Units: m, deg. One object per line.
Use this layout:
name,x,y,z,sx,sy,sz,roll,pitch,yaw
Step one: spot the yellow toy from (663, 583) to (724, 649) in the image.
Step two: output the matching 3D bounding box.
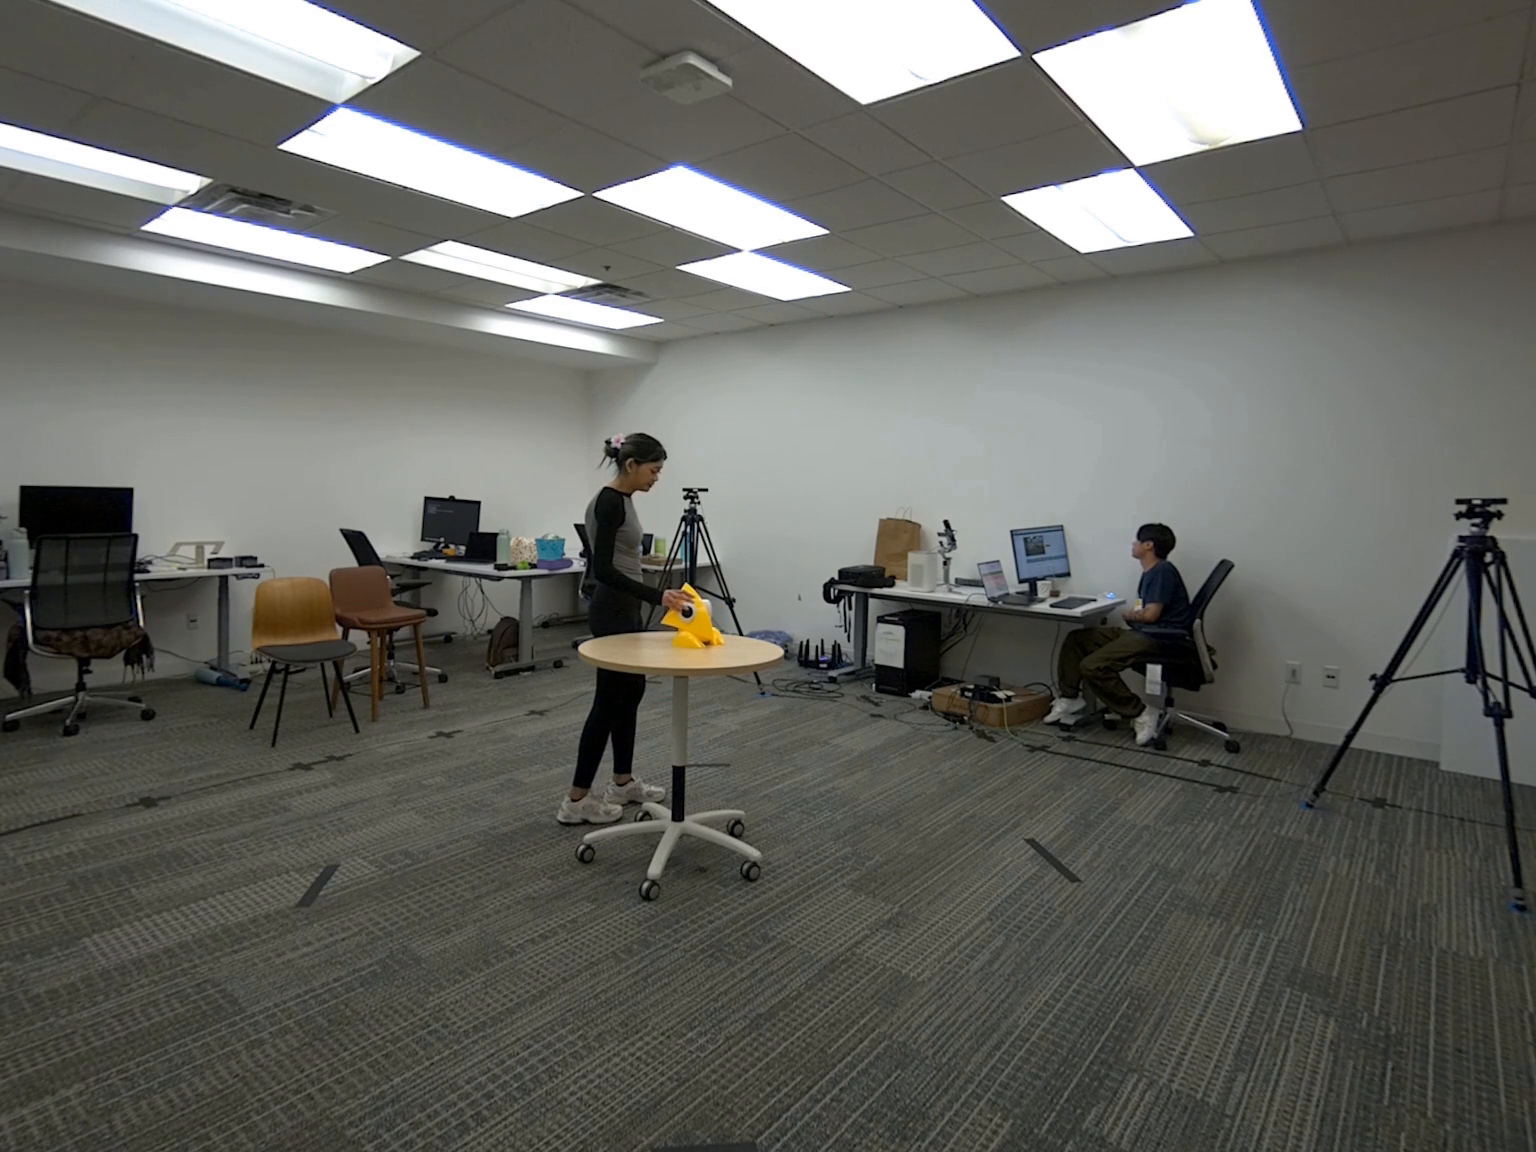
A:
yellow toy,-0.287,0.145,3.283,0.199,0.230,0.198,5,4,40
